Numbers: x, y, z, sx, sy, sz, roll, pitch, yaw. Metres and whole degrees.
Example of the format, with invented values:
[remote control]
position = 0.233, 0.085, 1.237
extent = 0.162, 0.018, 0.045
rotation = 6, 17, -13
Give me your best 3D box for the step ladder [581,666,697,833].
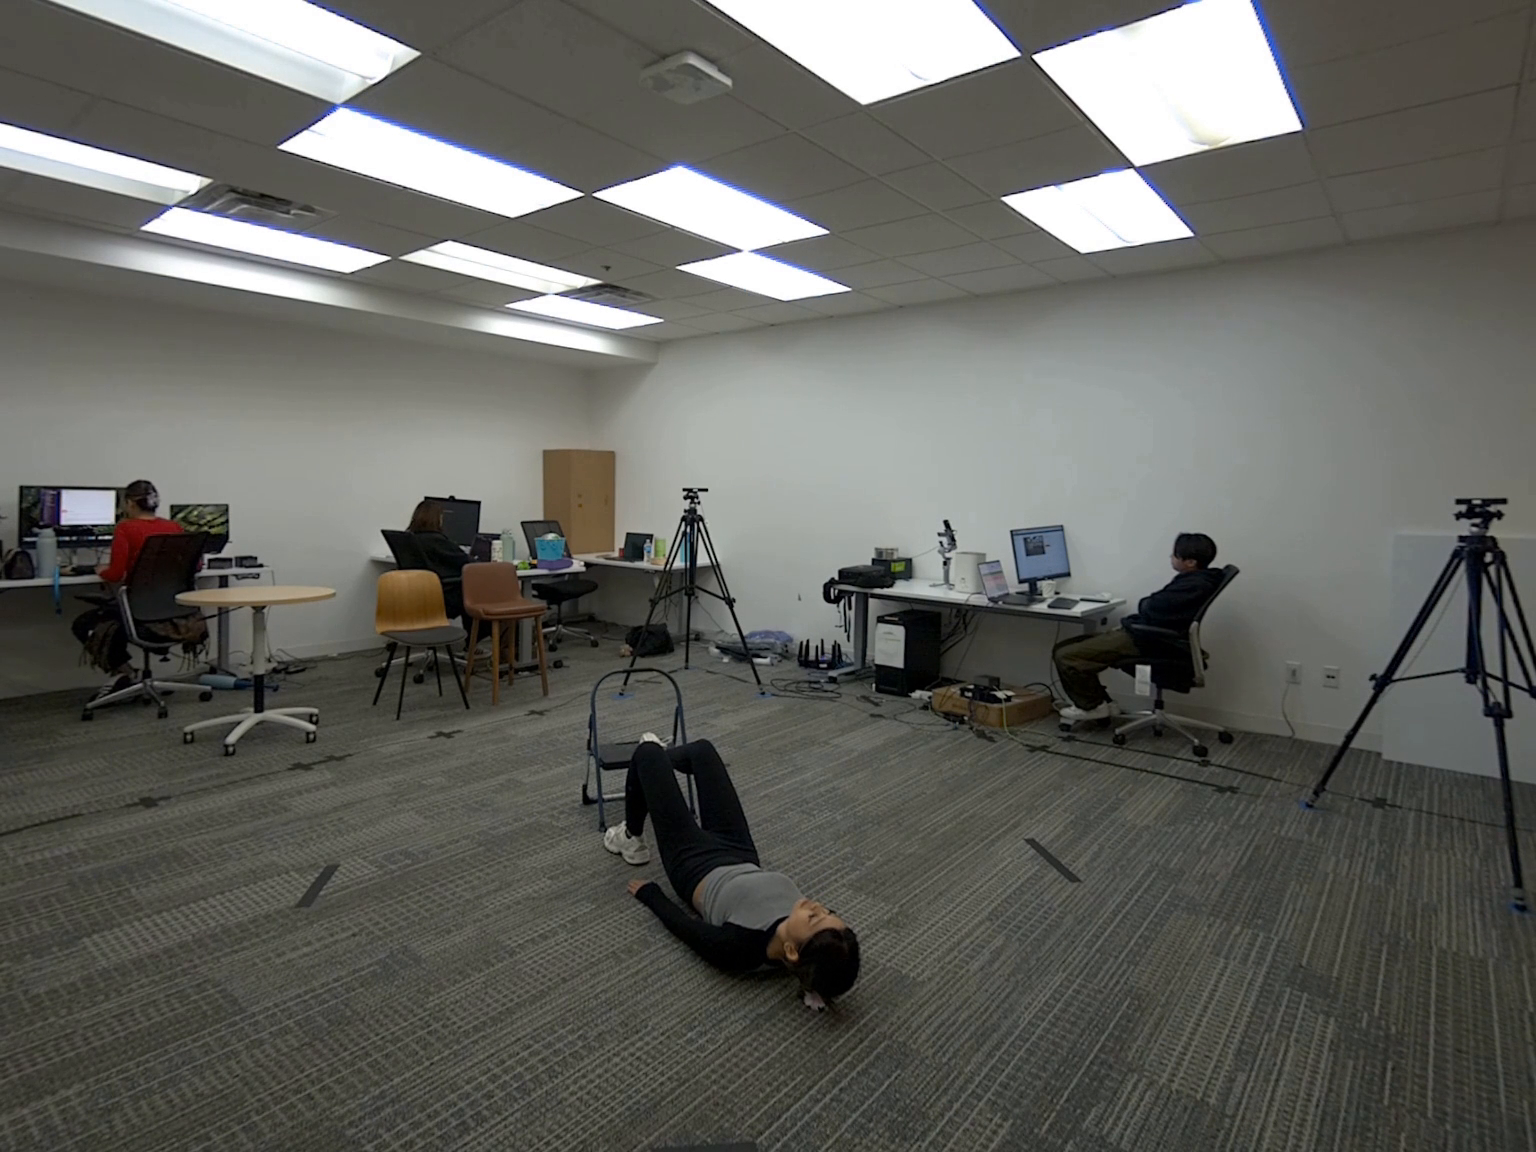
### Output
[step ladder]
position = -0.571, 0.711, 3.653
extent = 0.420, 0.604, 0.359
rotation = 0, 4, -25
